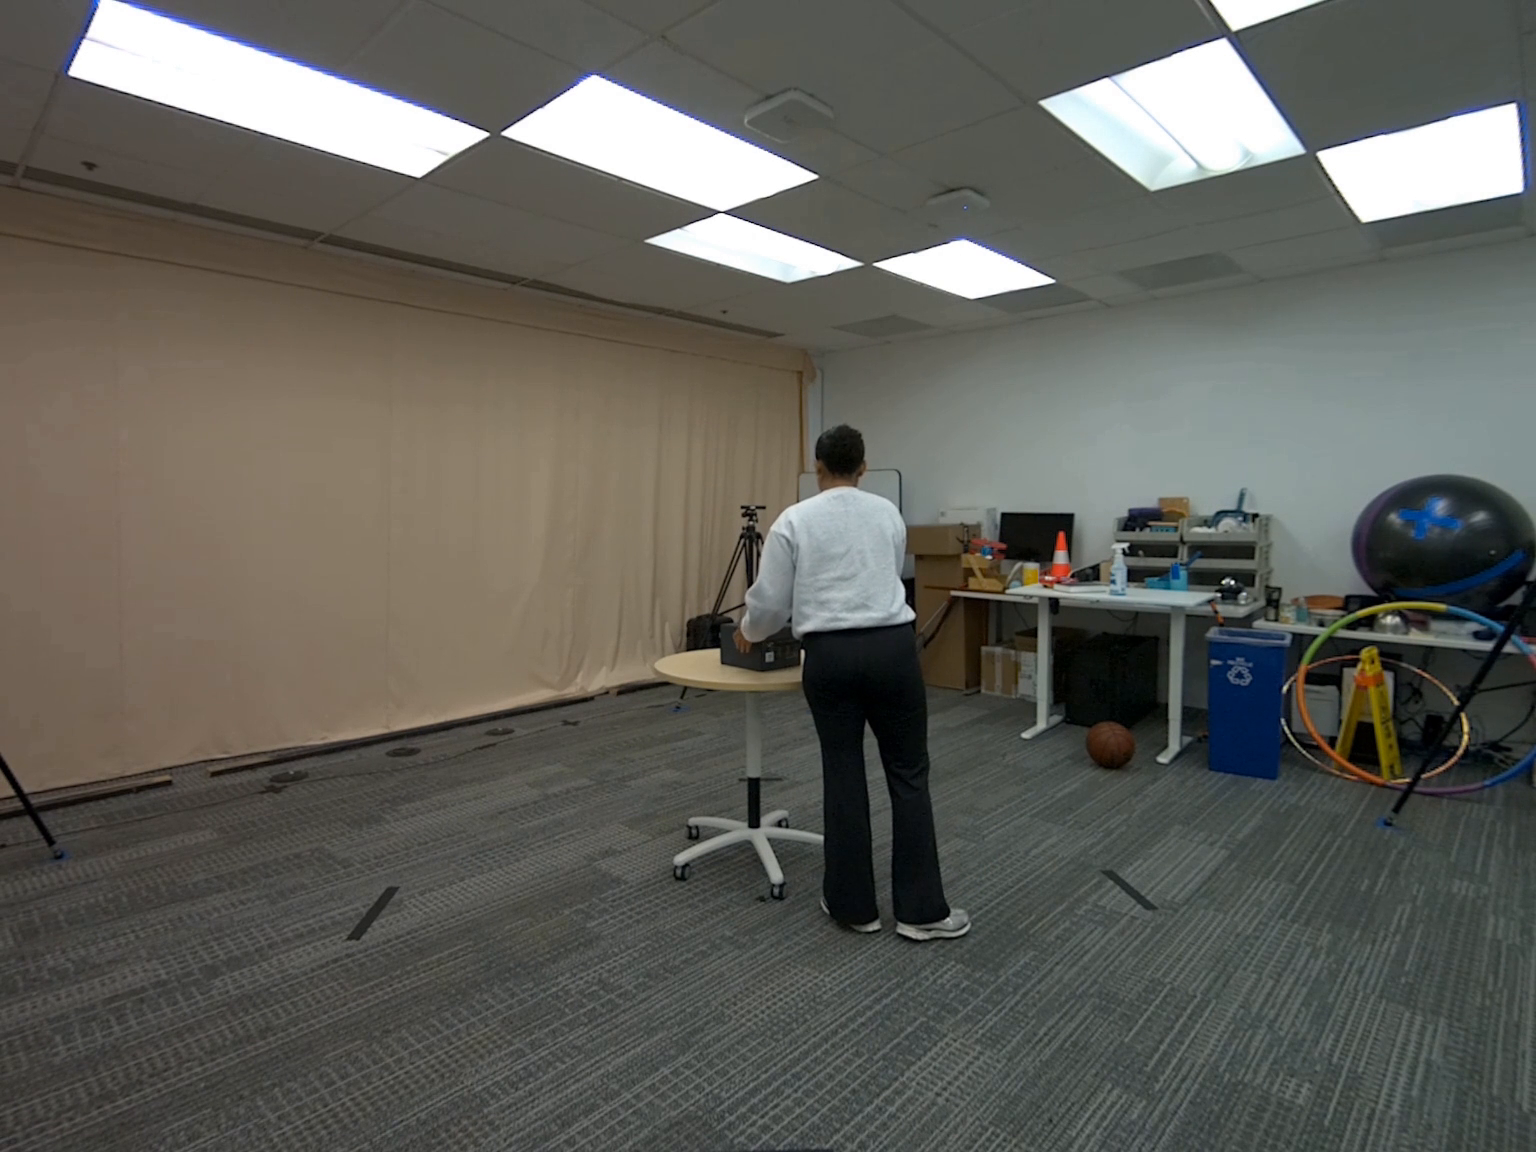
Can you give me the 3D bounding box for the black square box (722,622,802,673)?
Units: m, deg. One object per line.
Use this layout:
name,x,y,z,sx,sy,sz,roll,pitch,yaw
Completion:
black square box,-0.018,0.259,3.222,0.210,0.155,0.235,-3,5,-43
